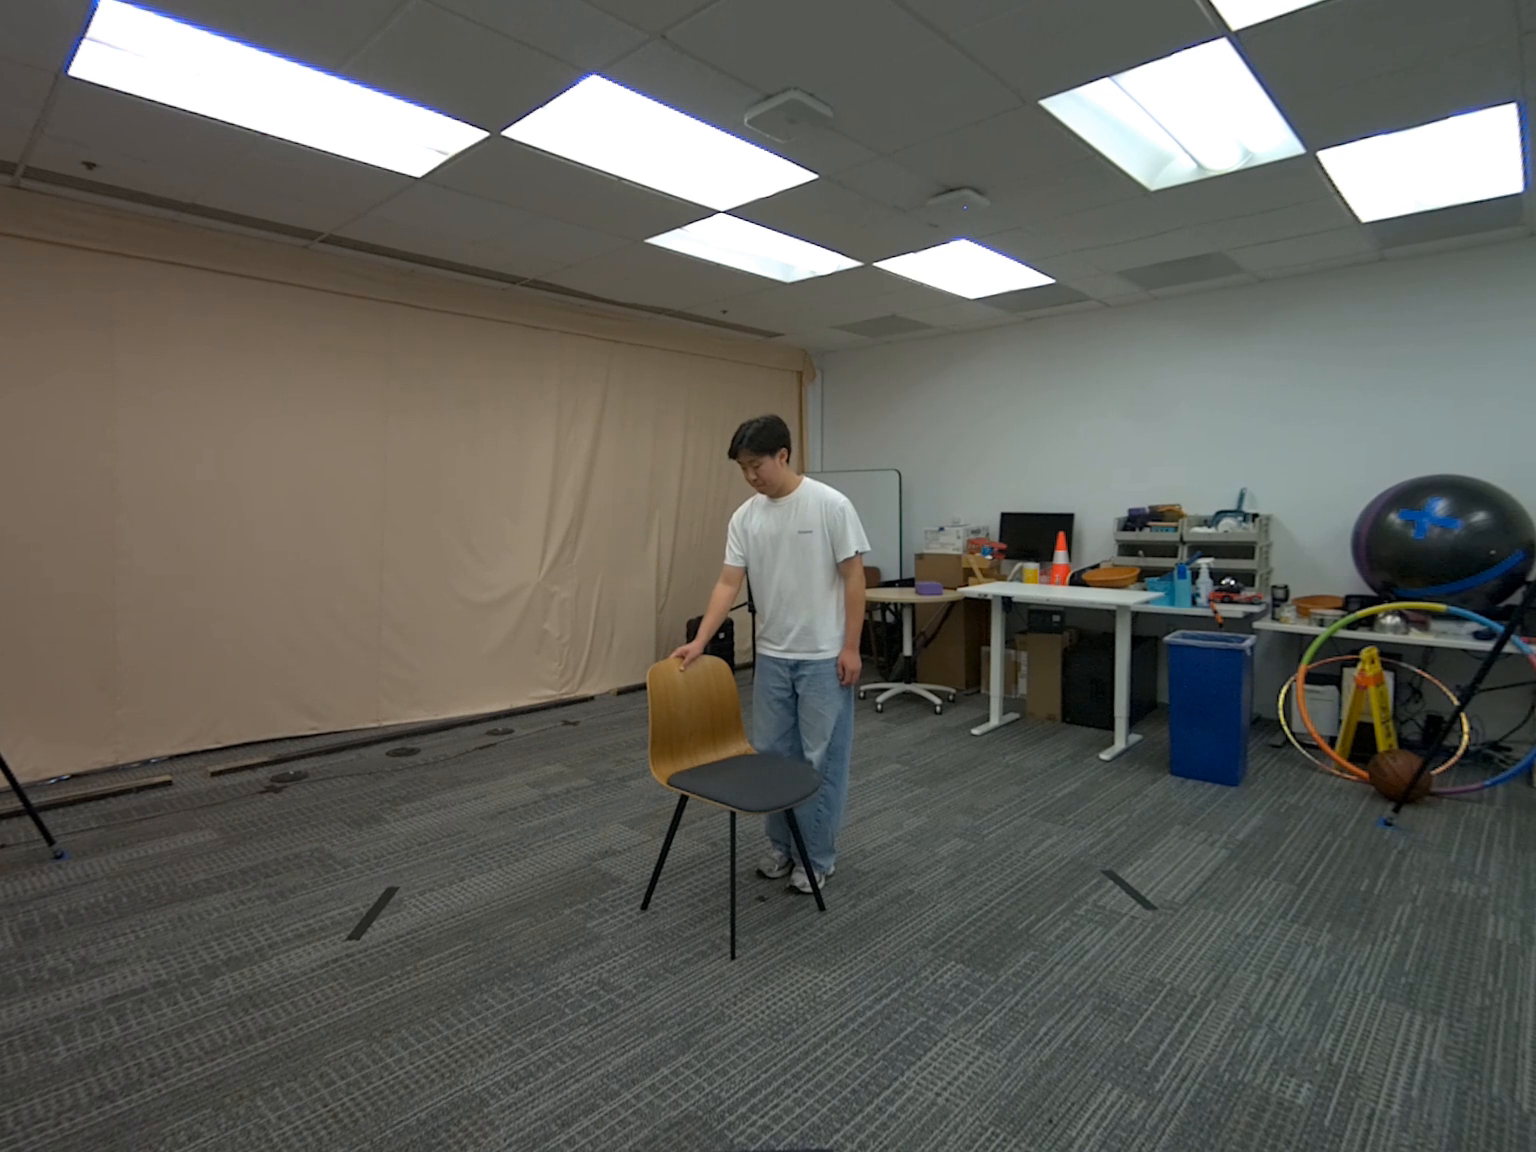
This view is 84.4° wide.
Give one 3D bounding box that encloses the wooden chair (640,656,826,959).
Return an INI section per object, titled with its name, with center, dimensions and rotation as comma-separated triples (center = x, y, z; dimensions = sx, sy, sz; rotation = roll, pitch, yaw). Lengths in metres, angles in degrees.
[wooden chair]
center = -0.118, 0.729, 2.857
dimensions = 0.463, 0.877, 0.539
rotation = -3, 0, -45
